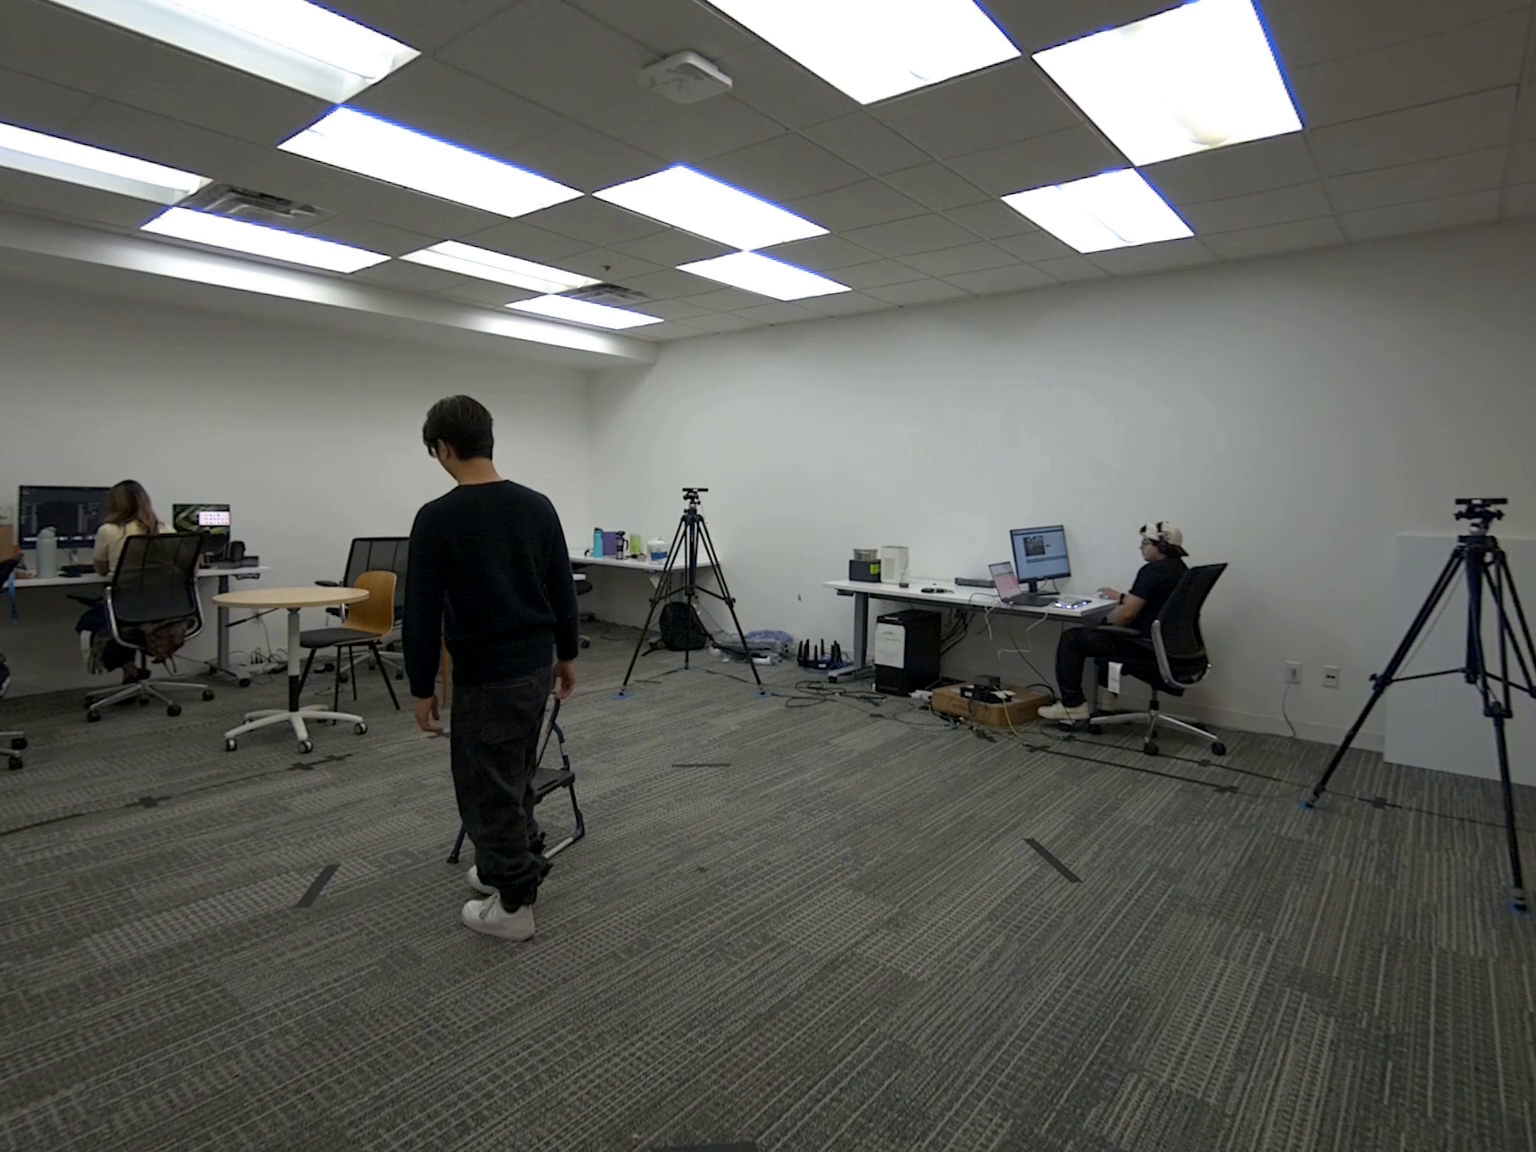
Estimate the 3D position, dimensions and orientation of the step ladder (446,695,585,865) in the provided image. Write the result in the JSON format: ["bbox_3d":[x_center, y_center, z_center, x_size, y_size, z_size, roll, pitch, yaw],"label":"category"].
[{"bbox_3d":[-0.964,0.742,3.250,0.357,0.604,0.423,1,4,19],"label":"step ladder"}]
